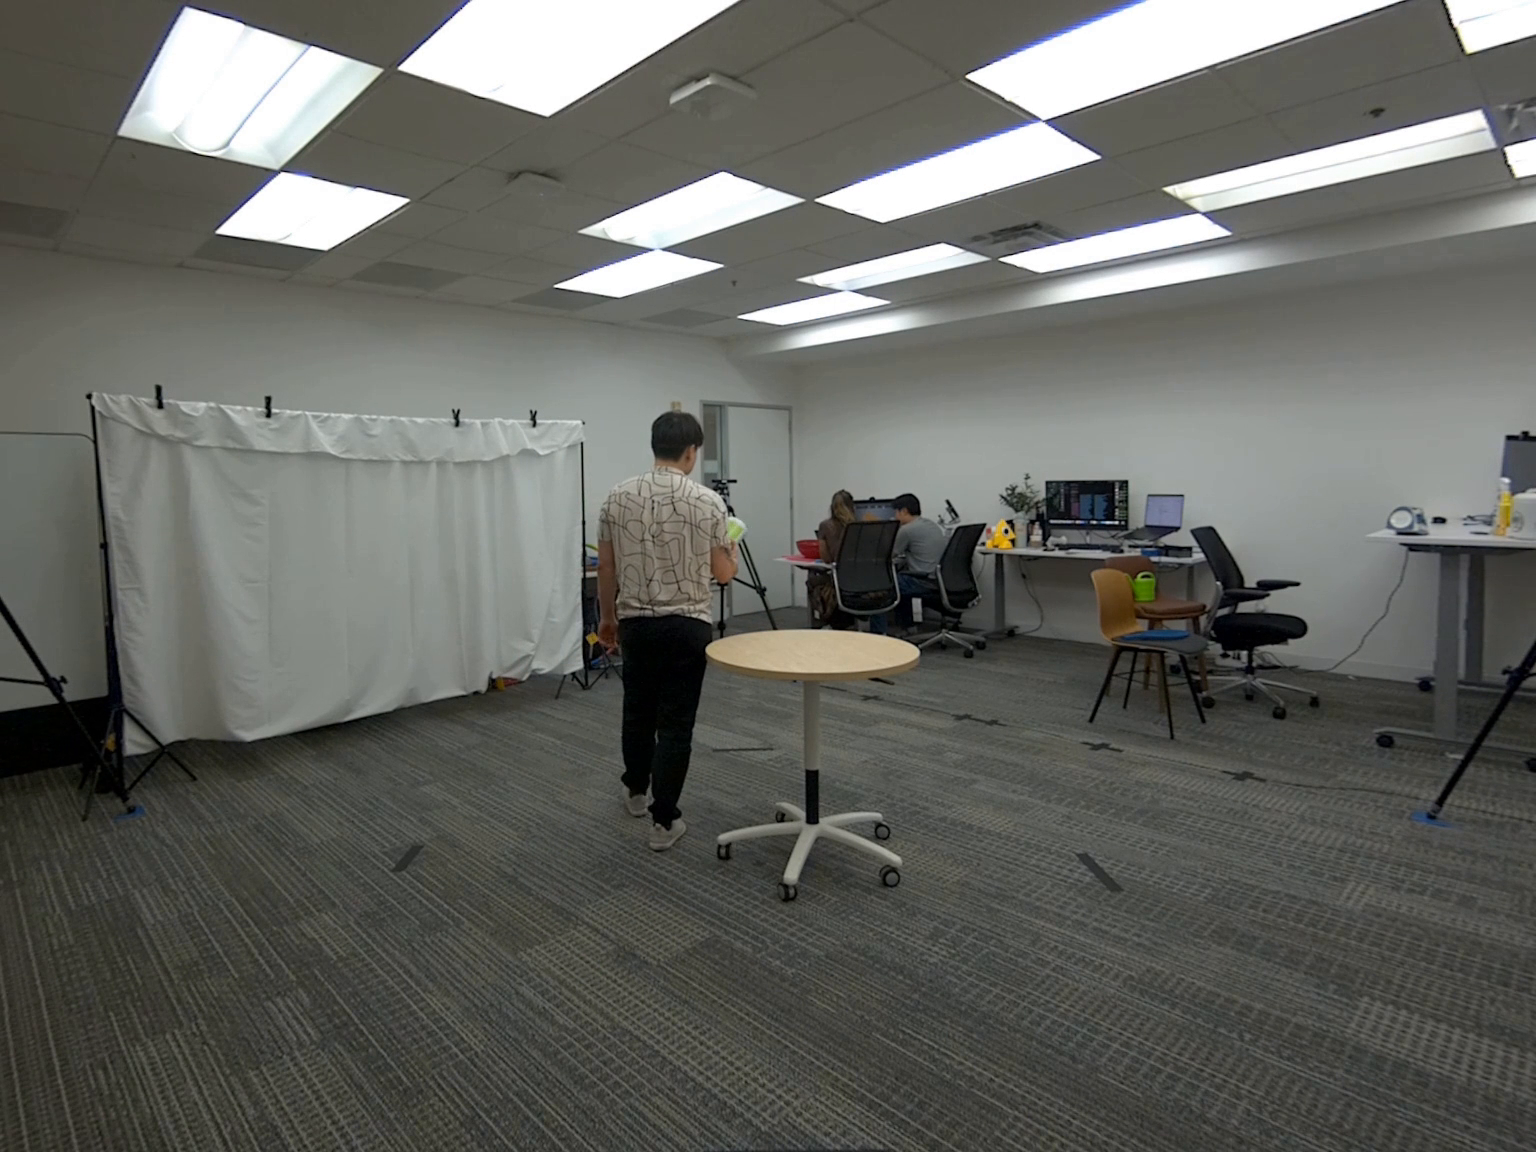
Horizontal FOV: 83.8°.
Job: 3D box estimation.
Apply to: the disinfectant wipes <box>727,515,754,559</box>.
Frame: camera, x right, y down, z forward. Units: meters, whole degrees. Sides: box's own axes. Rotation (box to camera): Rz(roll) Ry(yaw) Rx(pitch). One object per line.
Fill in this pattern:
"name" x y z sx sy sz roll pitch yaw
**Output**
"disinfectant wipes" -0.179 -0.142 3.583 0.121 0.114 0.218 2 42 35
